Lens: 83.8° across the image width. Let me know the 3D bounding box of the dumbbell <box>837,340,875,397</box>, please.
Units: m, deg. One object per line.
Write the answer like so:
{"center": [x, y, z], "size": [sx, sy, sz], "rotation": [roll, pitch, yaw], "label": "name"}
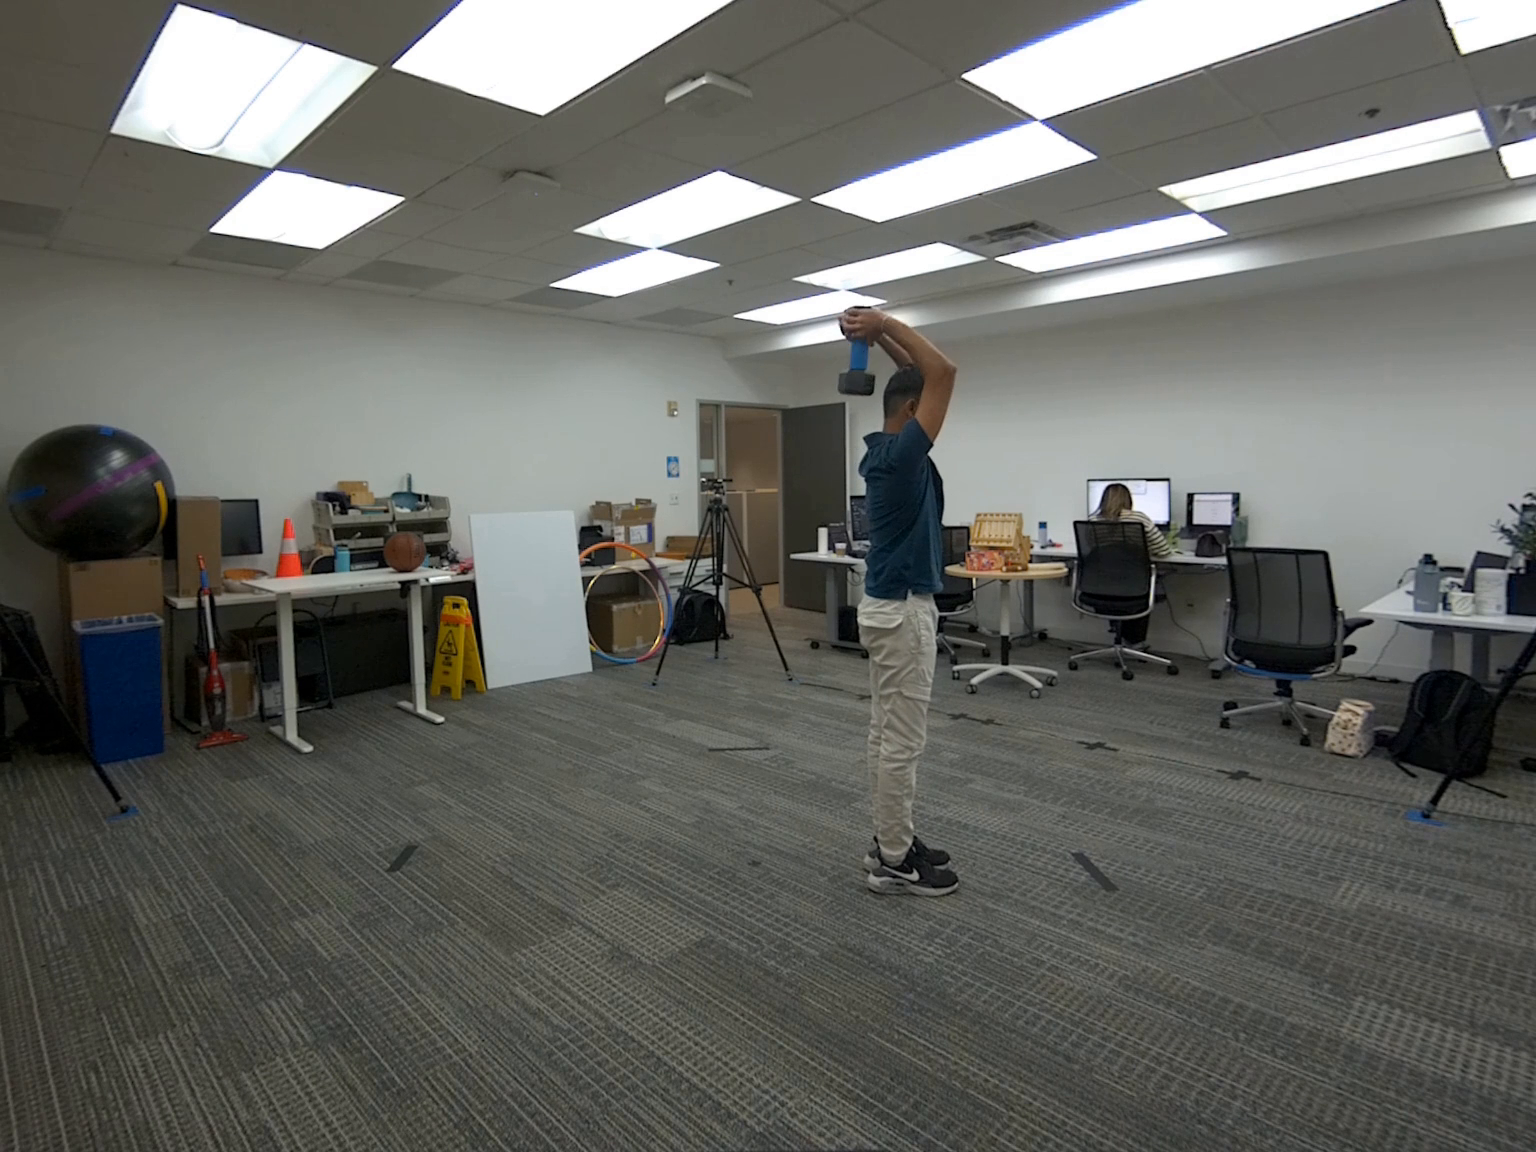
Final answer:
{"center": [0.325, -0.757, 2.866], "size": [0.124, 0.291, 0.108], "rotation": [8, 11, 11], "label": "dumbbell"}
